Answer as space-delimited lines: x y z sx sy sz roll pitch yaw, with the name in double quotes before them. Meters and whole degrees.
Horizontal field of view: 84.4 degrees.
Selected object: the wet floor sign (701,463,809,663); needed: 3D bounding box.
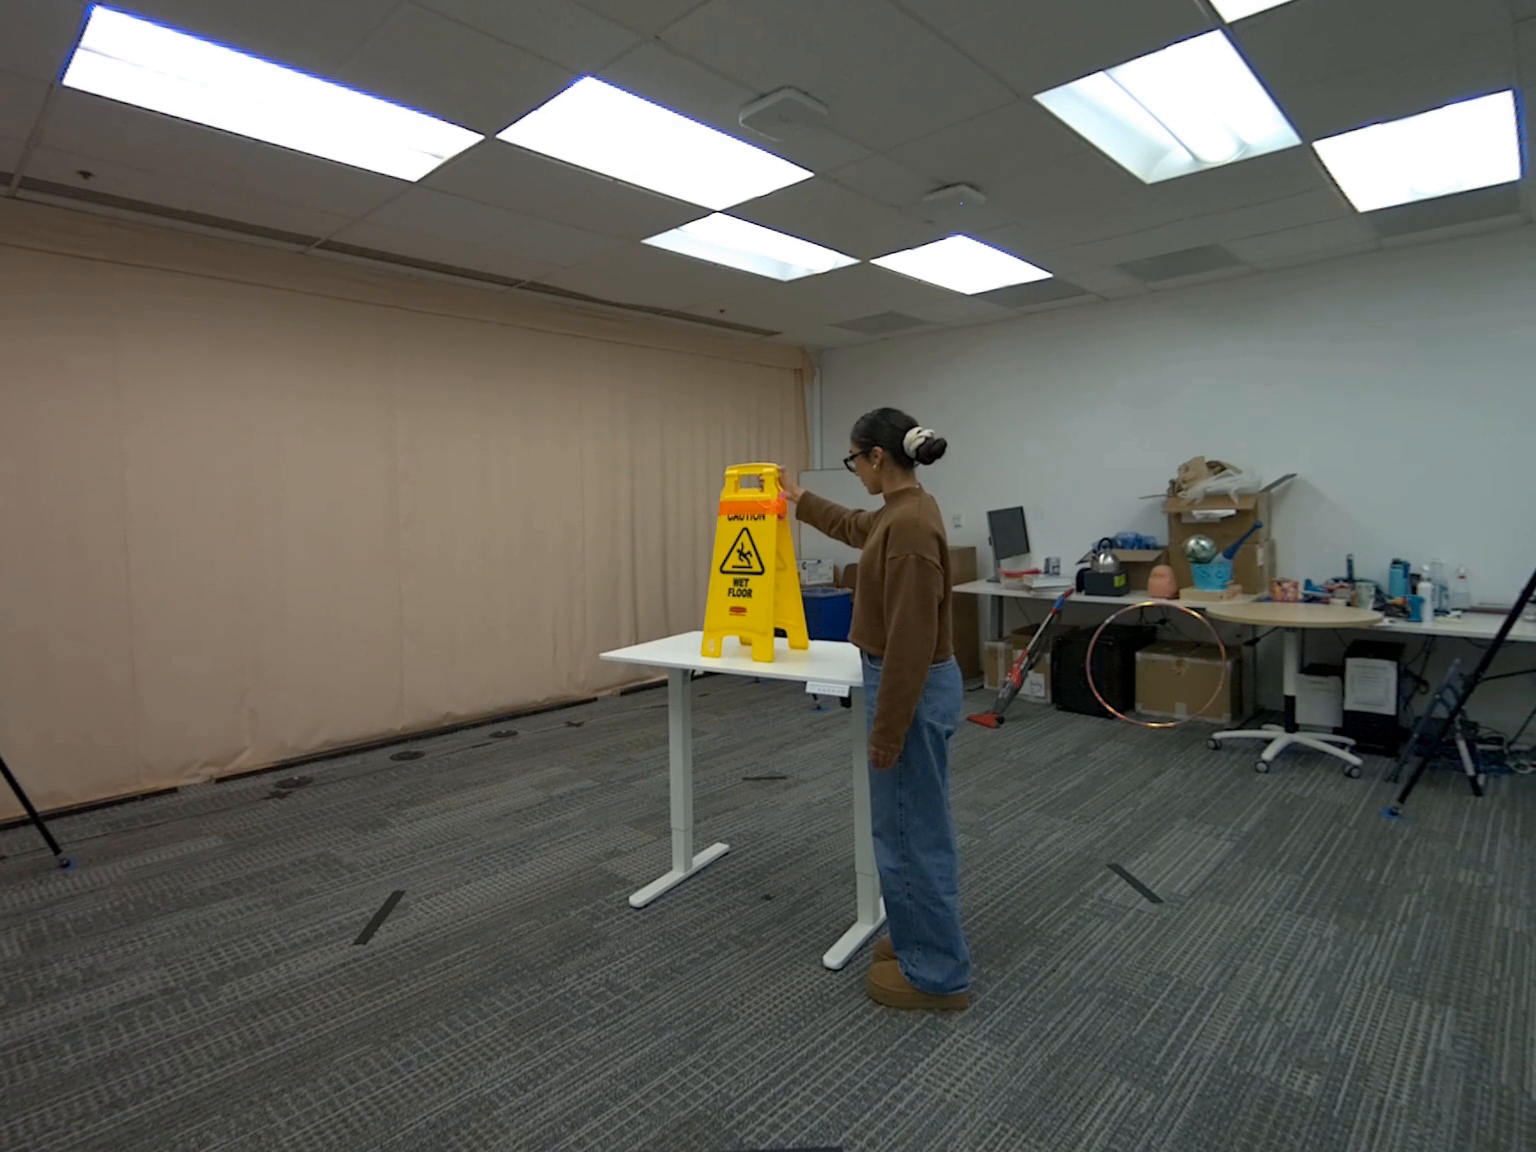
"wet floor sign" -0.044 -0.055 2.892 0.290 0.645 0.282 1 3 30
